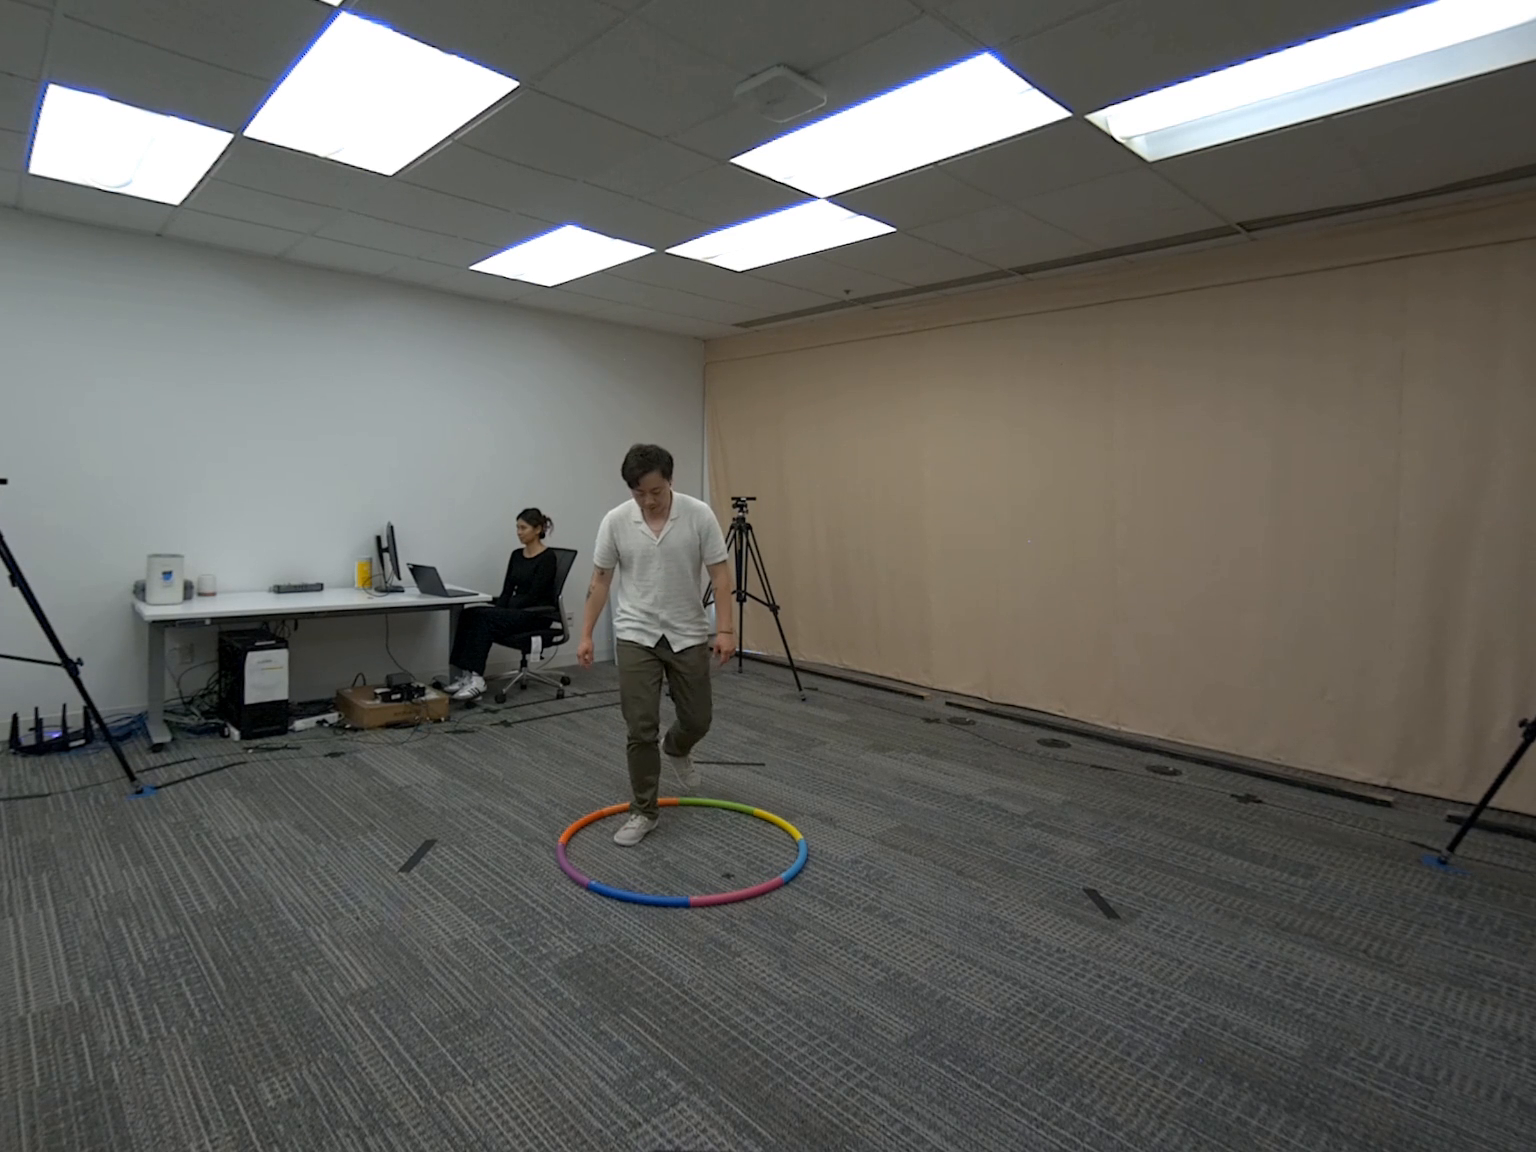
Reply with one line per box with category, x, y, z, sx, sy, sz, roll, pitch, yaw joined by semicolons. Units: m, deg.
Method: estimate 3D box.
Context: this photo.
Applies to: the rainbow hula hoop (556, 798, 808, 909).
rainbow hula hoop;-0.347;1.054;3.337;0.978;0.035;0.982;1;5;-1
